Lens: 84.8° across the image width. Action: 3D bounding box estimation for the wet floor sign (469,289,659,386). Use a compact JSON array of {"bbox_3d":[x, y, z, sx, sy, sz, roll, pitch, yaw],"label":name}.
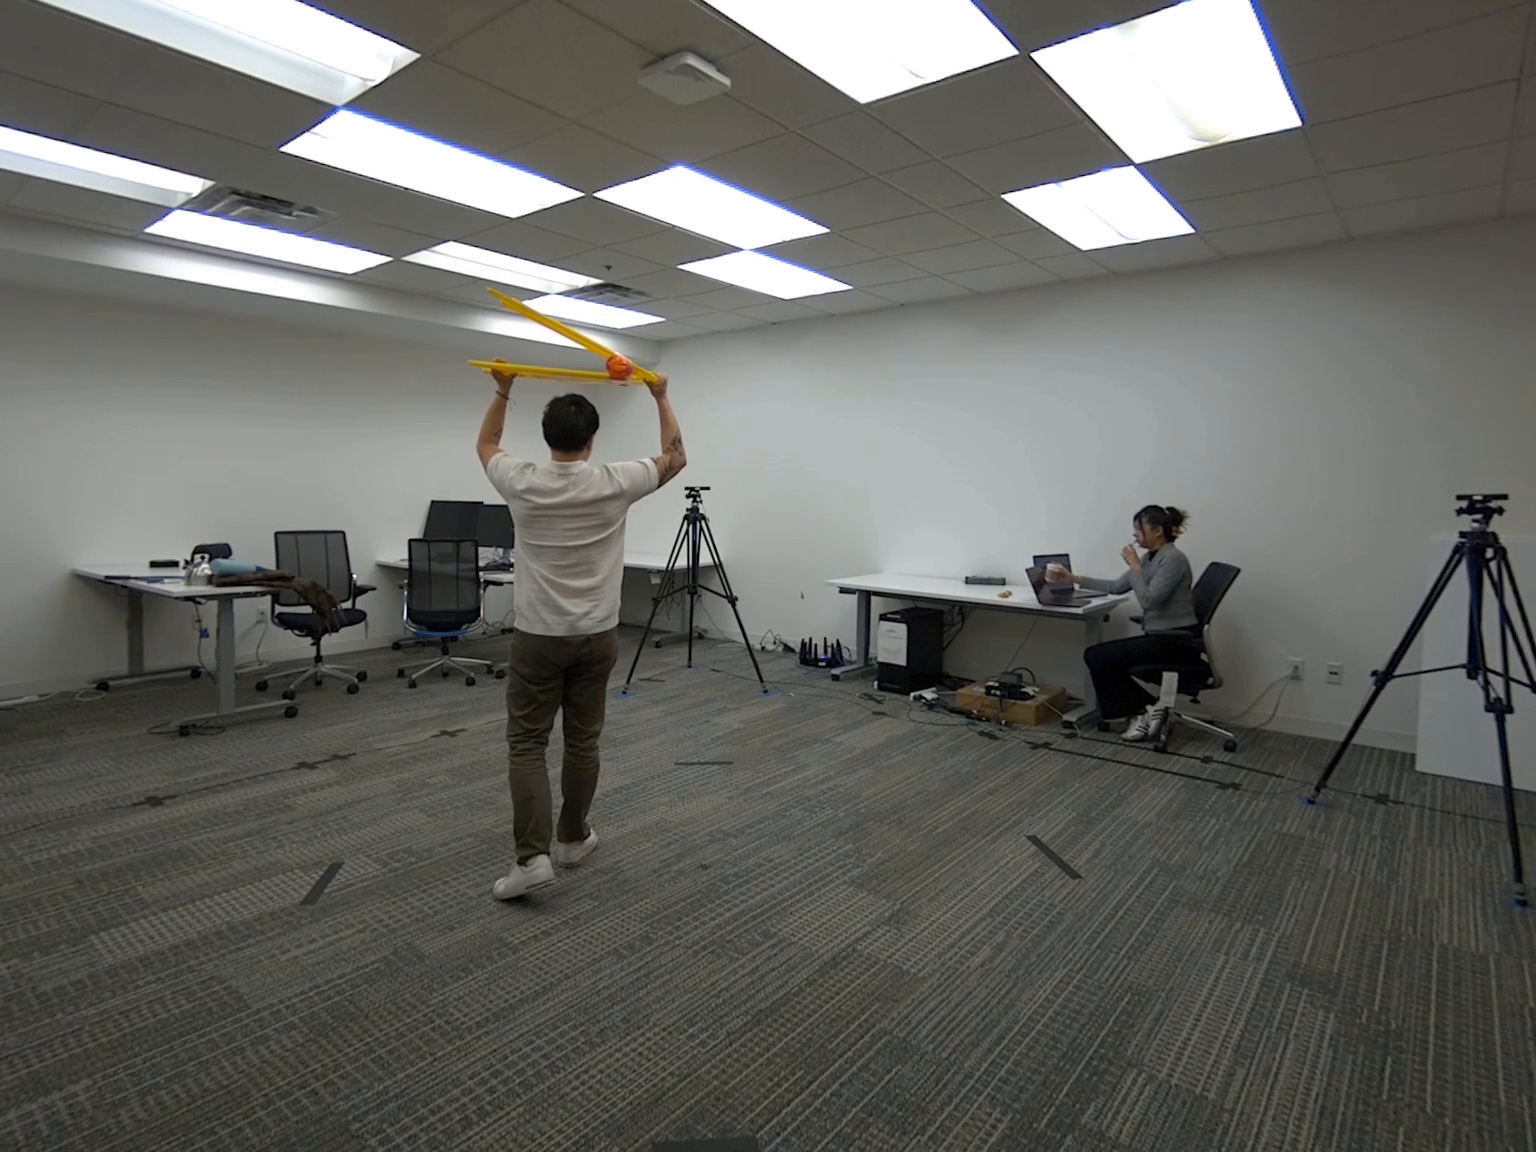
[{"bbox_3d":[-0.713,-0.794,3.081,0.644,0.289,0.284,16,3,-3],"label":"wet floor sign"}]
